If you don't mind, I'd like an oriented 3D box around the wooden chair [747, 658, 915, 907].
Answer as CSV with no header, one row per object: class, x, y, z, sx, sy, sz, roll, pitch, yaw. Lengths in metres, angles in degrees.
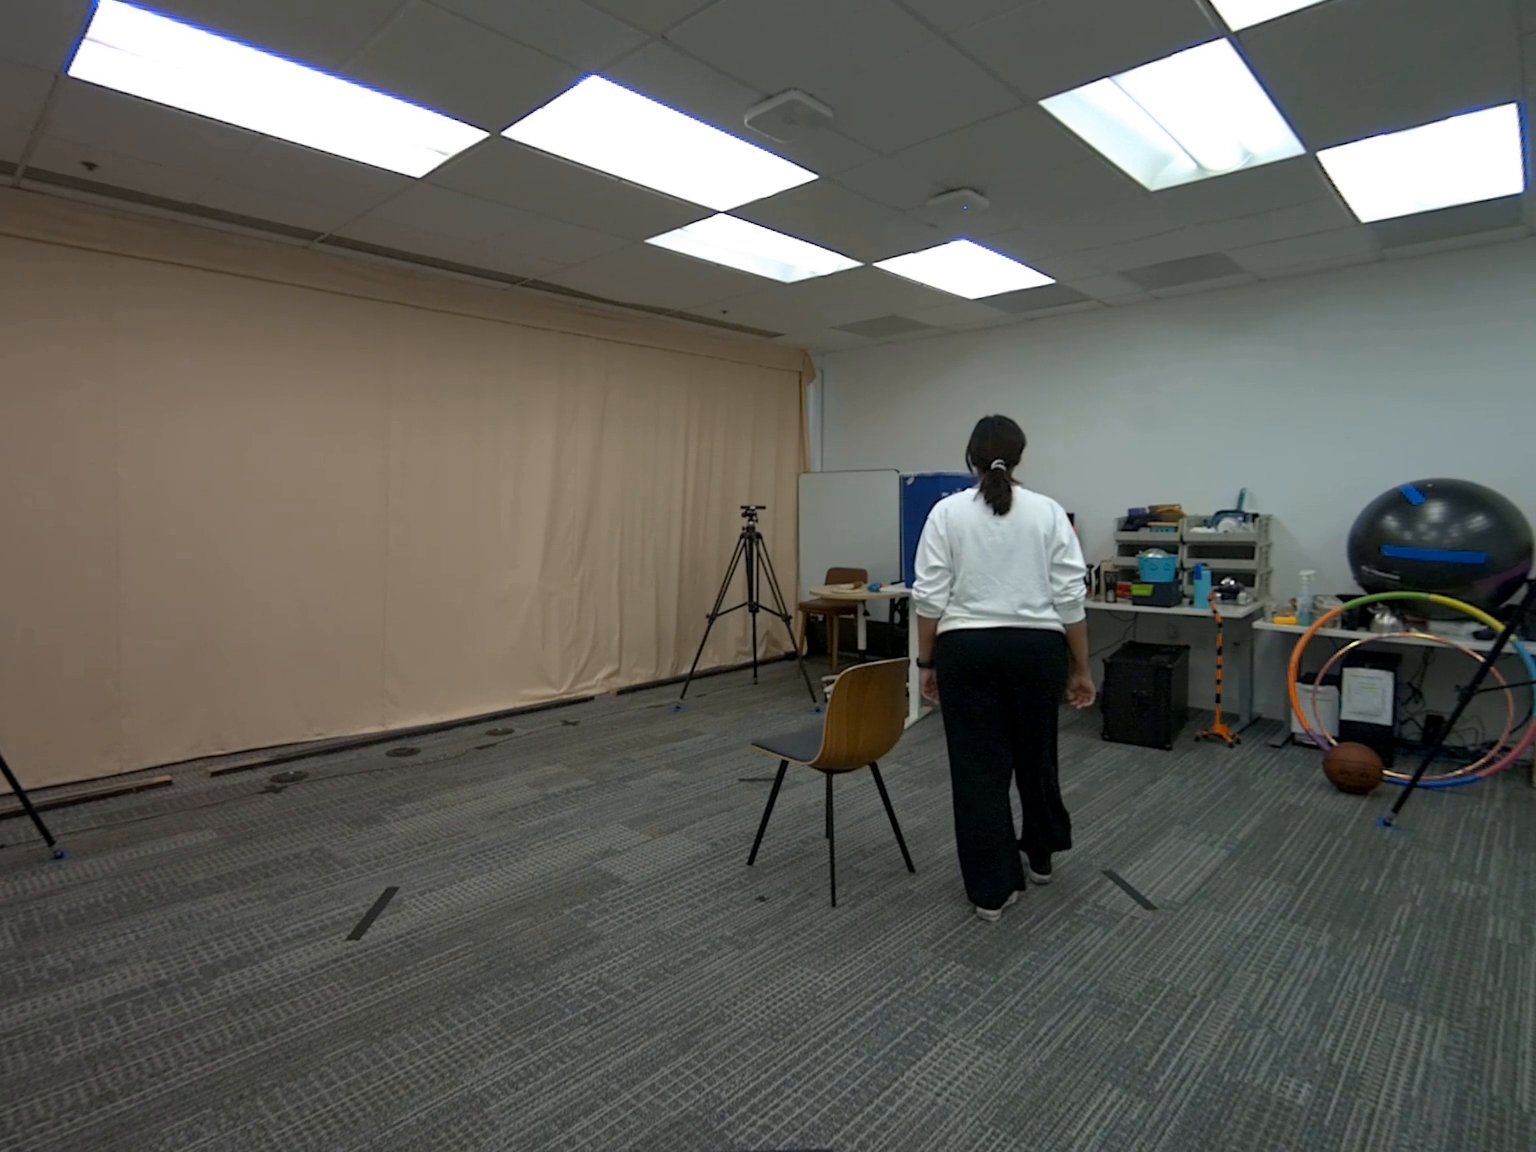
wooden chair,0.239,0.696,3.205,0.463,0.874,0.541,-3,9,-41
